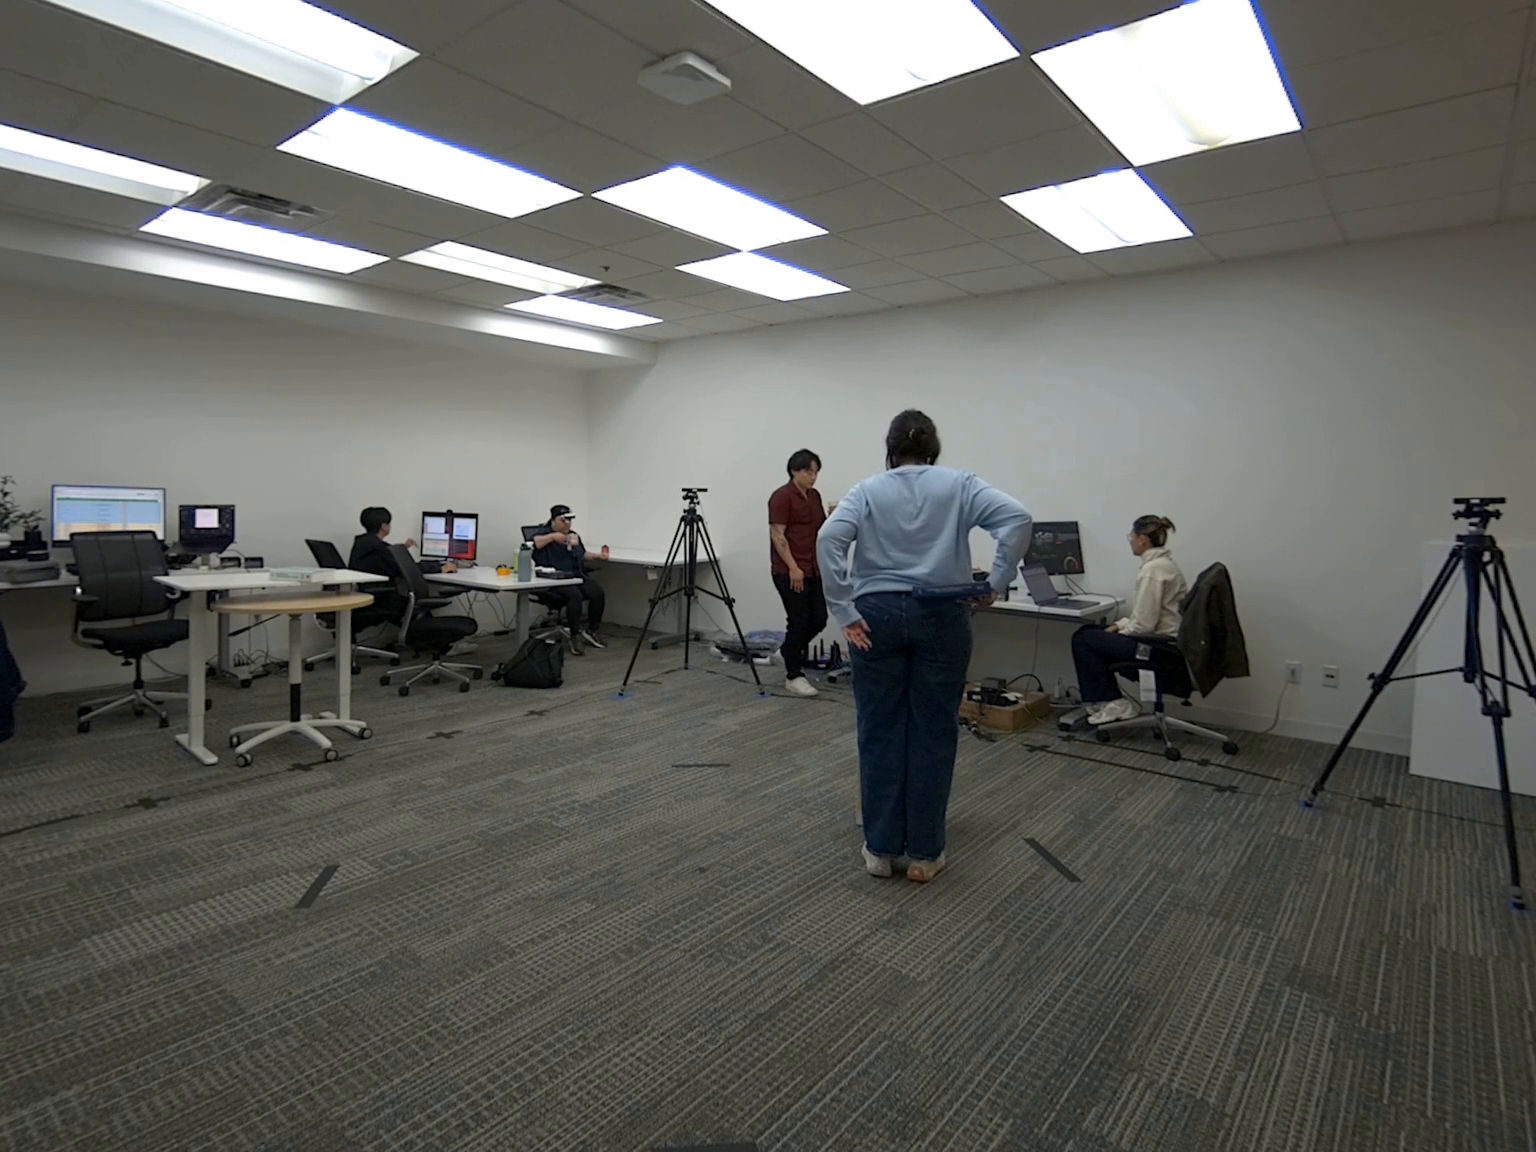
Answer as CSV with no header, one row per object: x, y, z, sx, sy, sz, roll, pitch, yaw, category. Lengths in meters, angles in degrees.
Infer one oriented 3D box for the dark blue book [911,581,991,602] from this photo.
0.630,0.046,2.859,0.248,0.045,0.160,-4,-8,13,dark blue book
